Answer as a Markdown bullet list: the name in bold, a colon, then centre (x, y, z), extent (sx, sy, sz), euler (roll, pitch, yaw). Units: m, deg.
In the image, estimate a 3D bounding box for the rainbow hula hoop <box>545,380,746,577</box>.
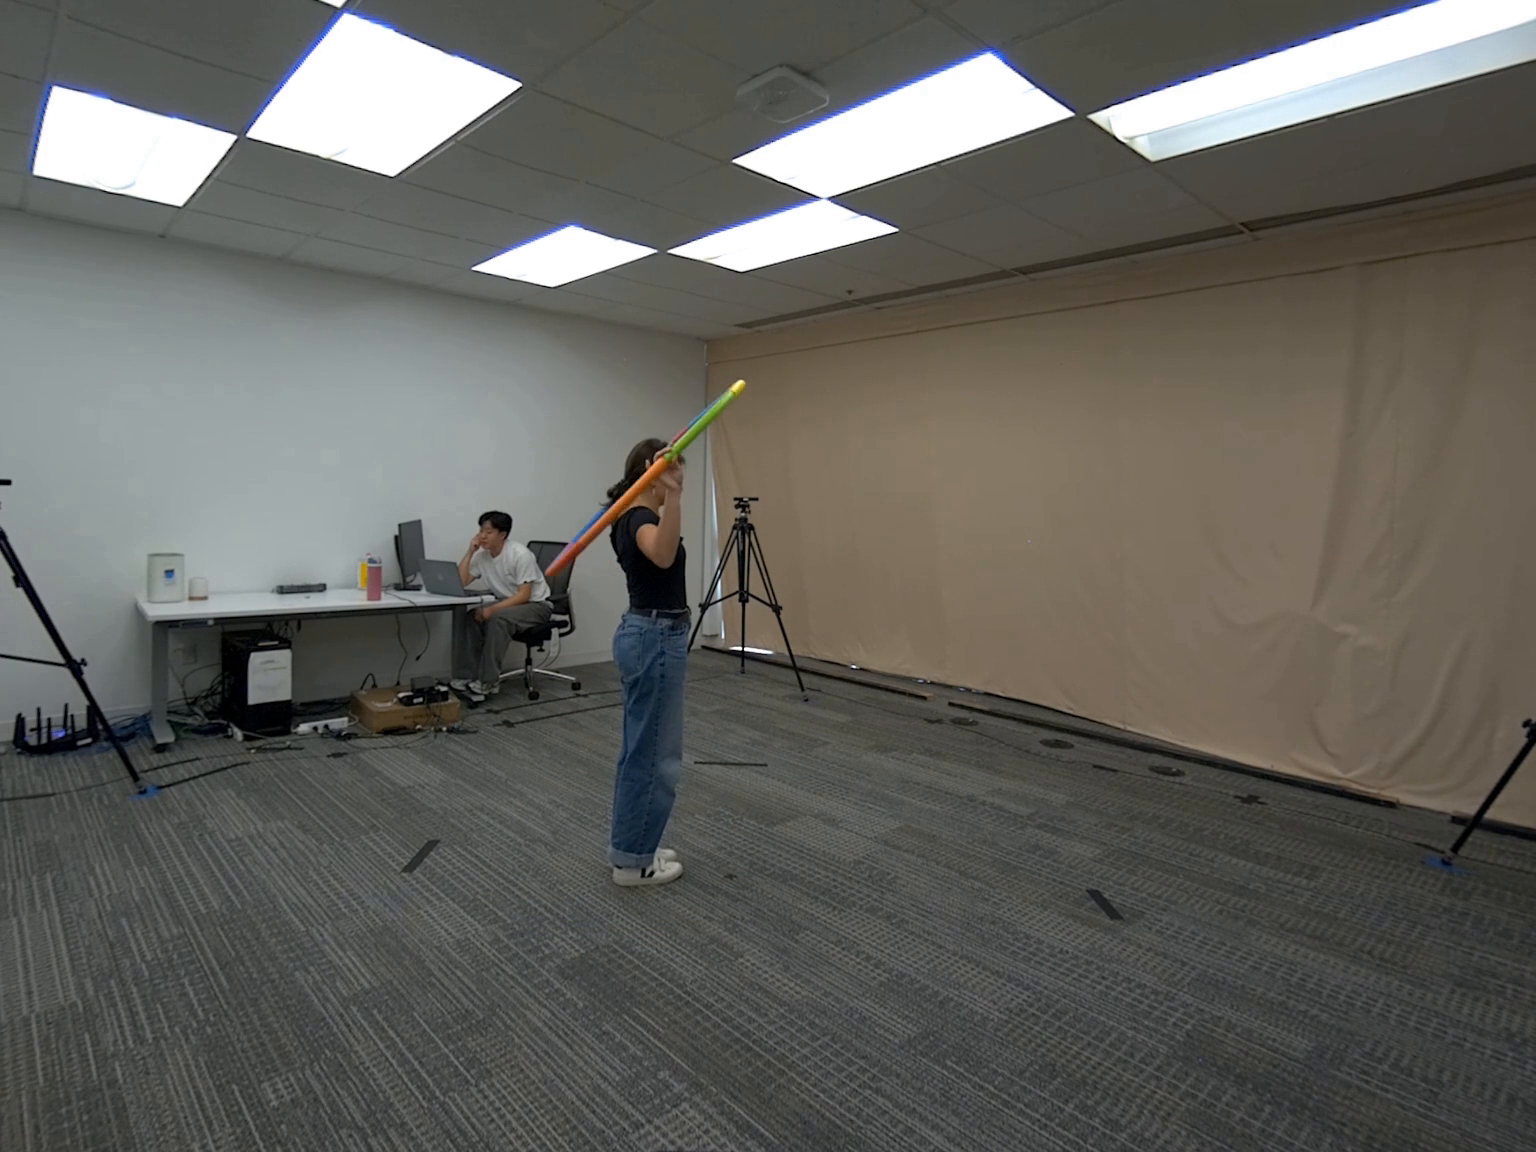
- **rainbow hula hoop**: centre (-0.446, -0.347, 3.001), extent (0.035, 0.978, 0.989), euler (45, -4, -12)
